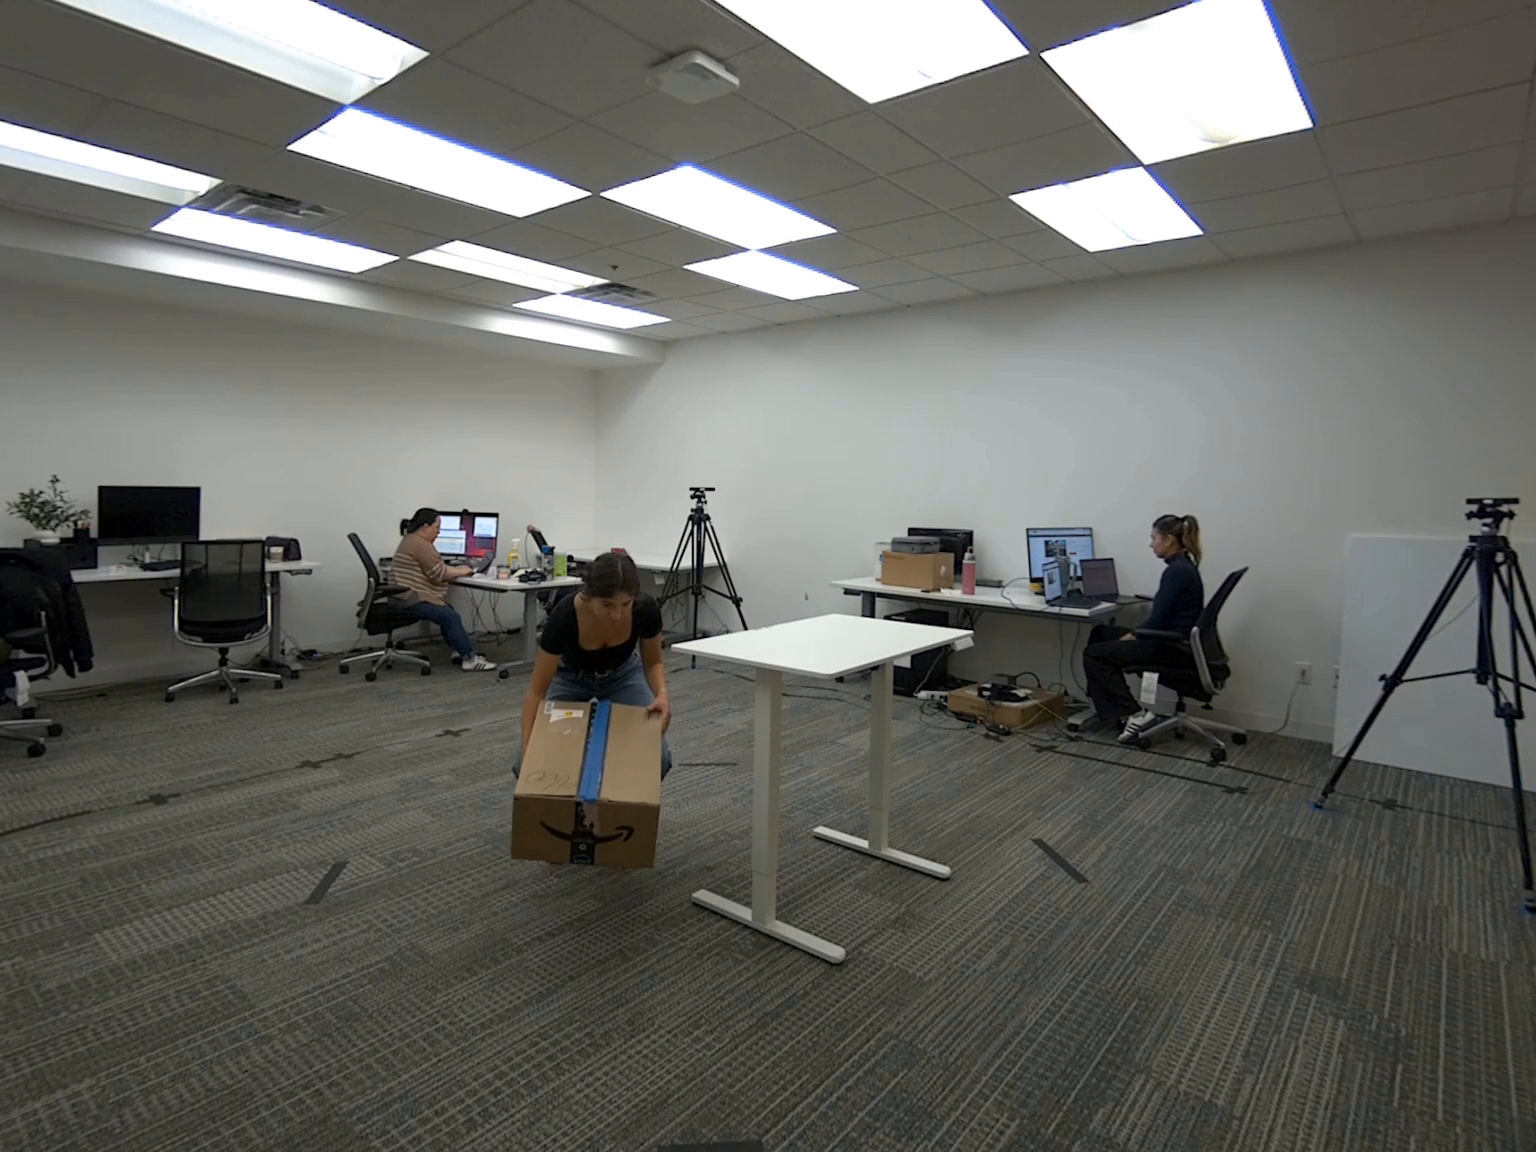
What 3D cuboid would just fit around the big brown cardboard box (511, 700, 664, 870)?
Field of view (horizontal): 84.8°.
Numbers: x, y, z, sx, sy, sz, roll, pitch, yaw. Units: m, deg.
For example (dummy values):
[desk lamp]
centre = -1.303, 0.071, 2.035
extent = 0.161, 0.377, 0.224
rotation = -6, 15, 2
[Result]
[big brown cardboard box]
centre = -0.556, 0.633, 2.686
extent = 0.414, 0.230, 0.602
rotation = 4, 19, -8
